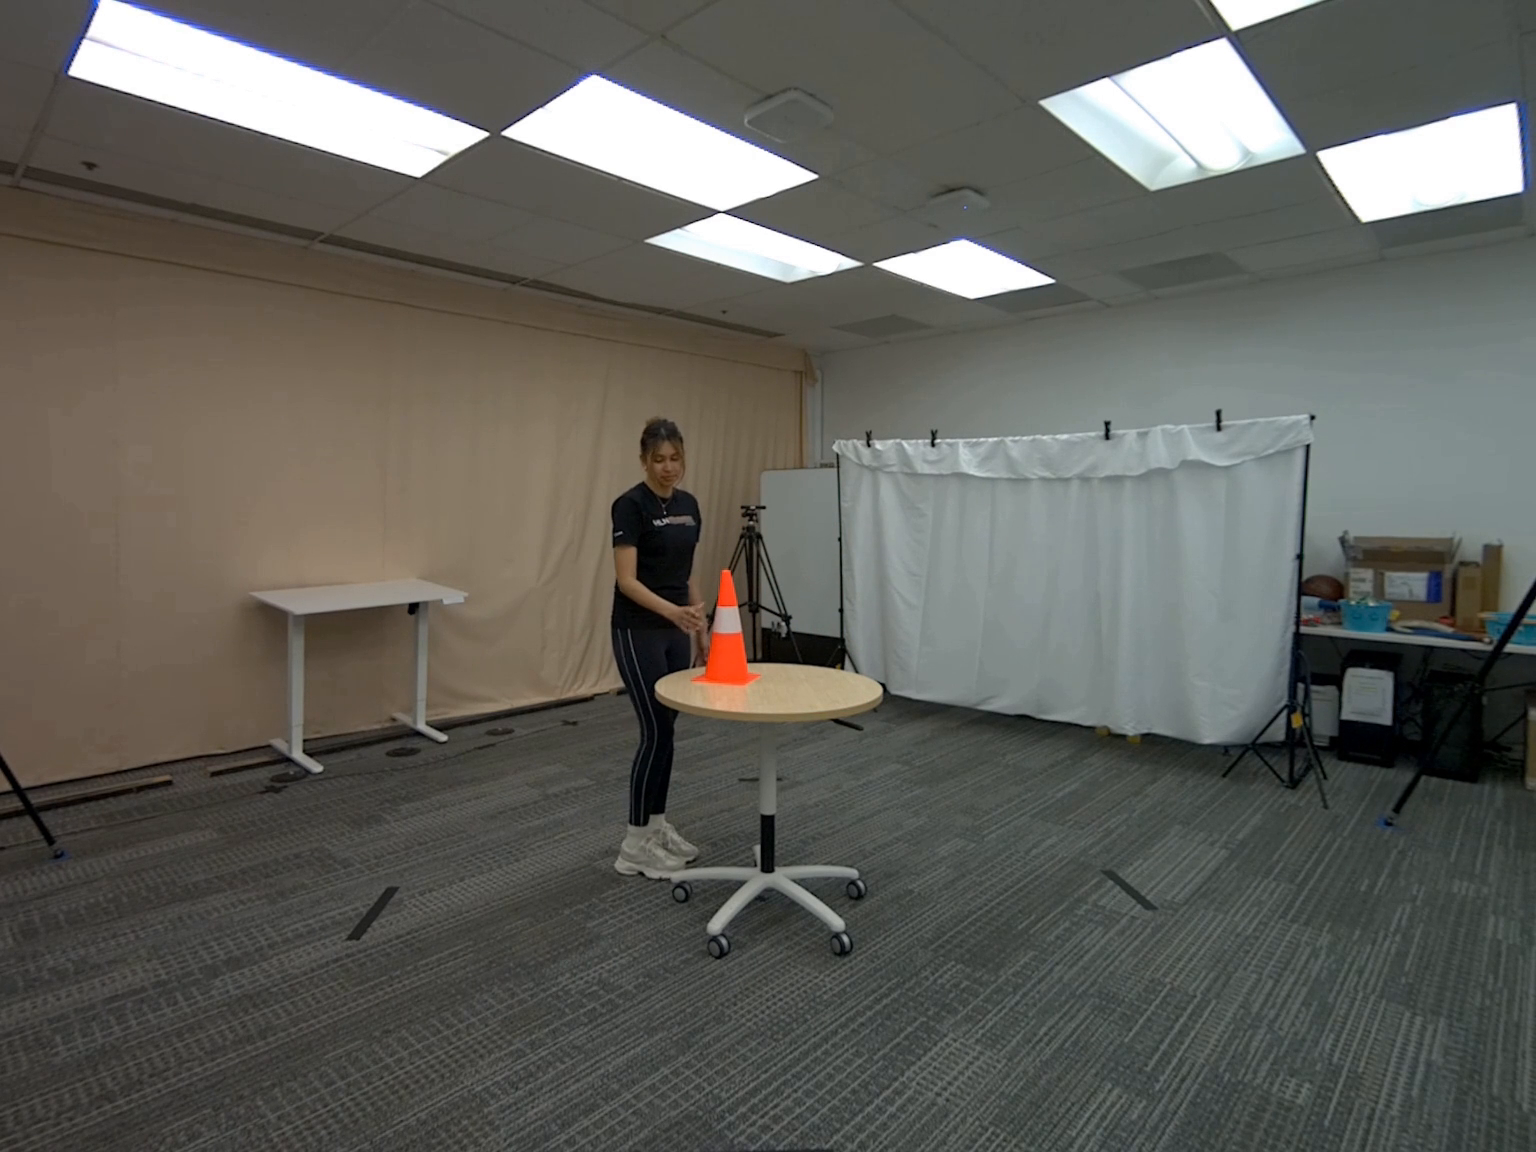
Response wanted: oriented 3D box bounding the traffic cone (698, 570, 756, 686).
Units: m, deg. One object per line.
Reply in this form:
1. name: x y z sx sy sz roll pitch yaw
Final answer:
1. traffic cone: -0.147 0.176 2.961 0.209 0.383 0.200 0 3 18
